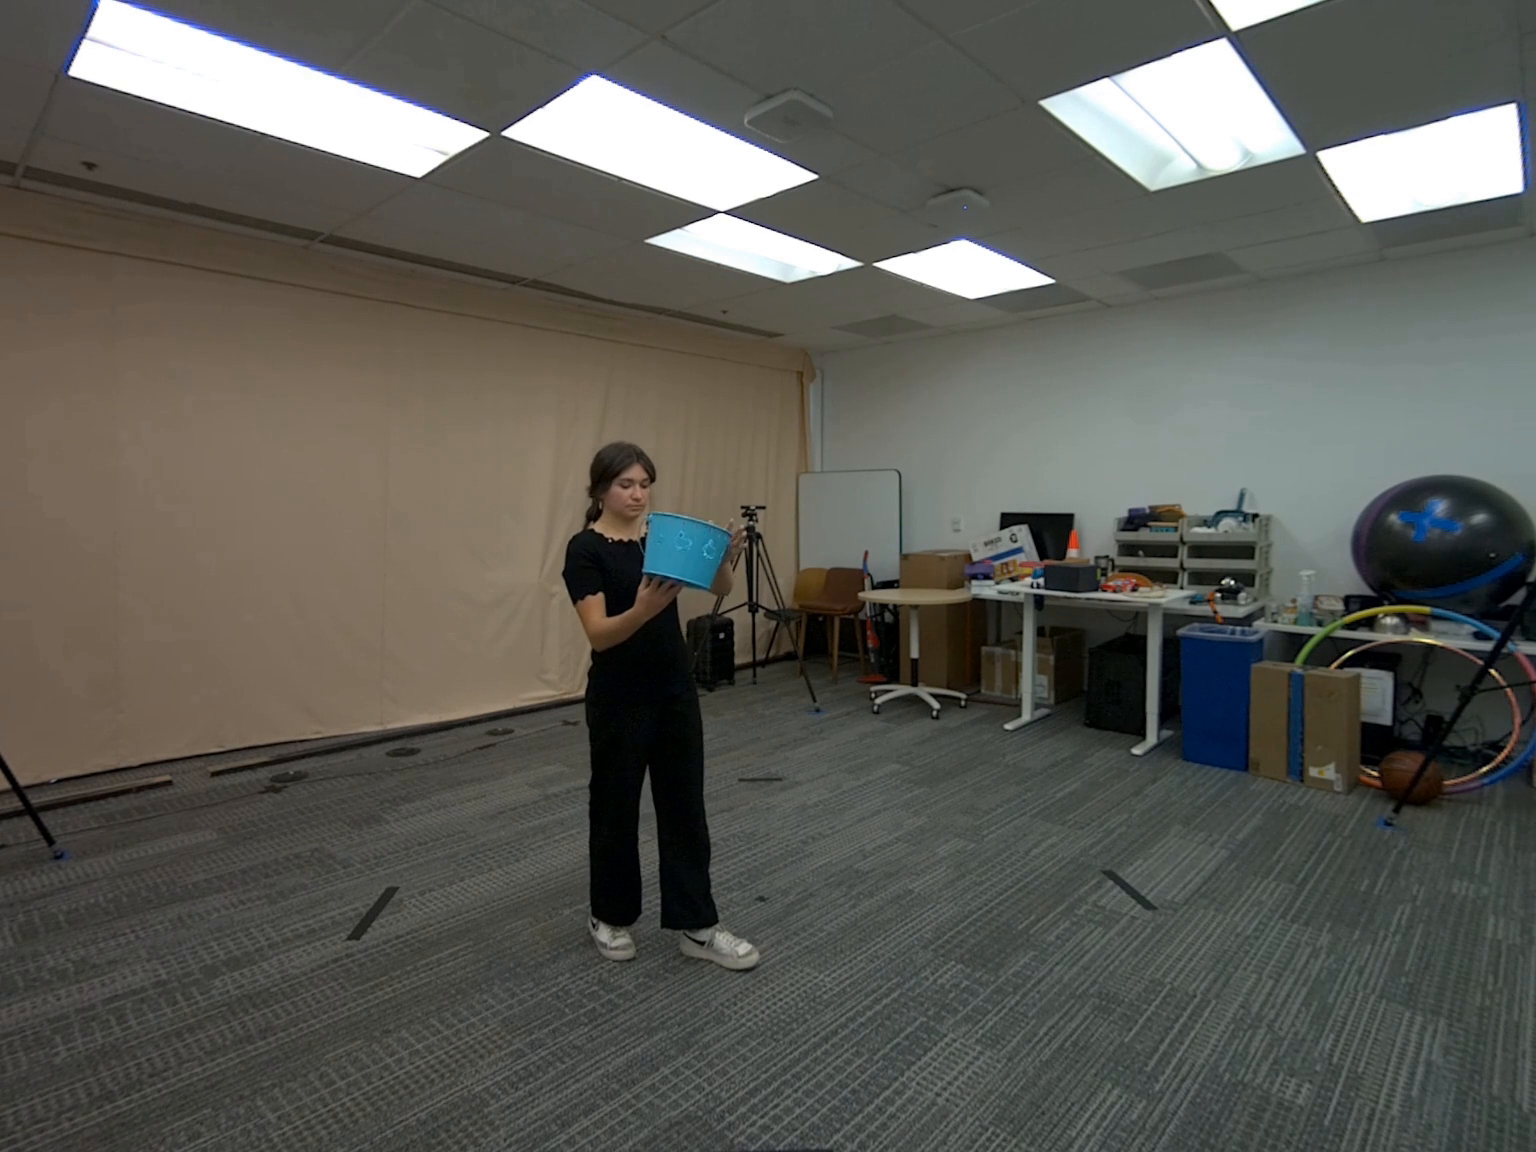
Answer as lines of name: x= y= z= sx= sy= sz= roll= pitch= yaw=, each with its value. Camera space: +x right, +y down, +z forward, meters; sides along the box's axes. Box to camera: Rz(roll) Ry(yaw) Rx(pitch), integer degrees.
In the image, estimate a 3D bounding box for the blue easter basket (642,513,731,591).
blue easter basket: x=-0.219 y=-0.054 z=2.200 sx=0.244 sy=0.156 sz=0.242 roll=14 pitch=-8 yaw=0
